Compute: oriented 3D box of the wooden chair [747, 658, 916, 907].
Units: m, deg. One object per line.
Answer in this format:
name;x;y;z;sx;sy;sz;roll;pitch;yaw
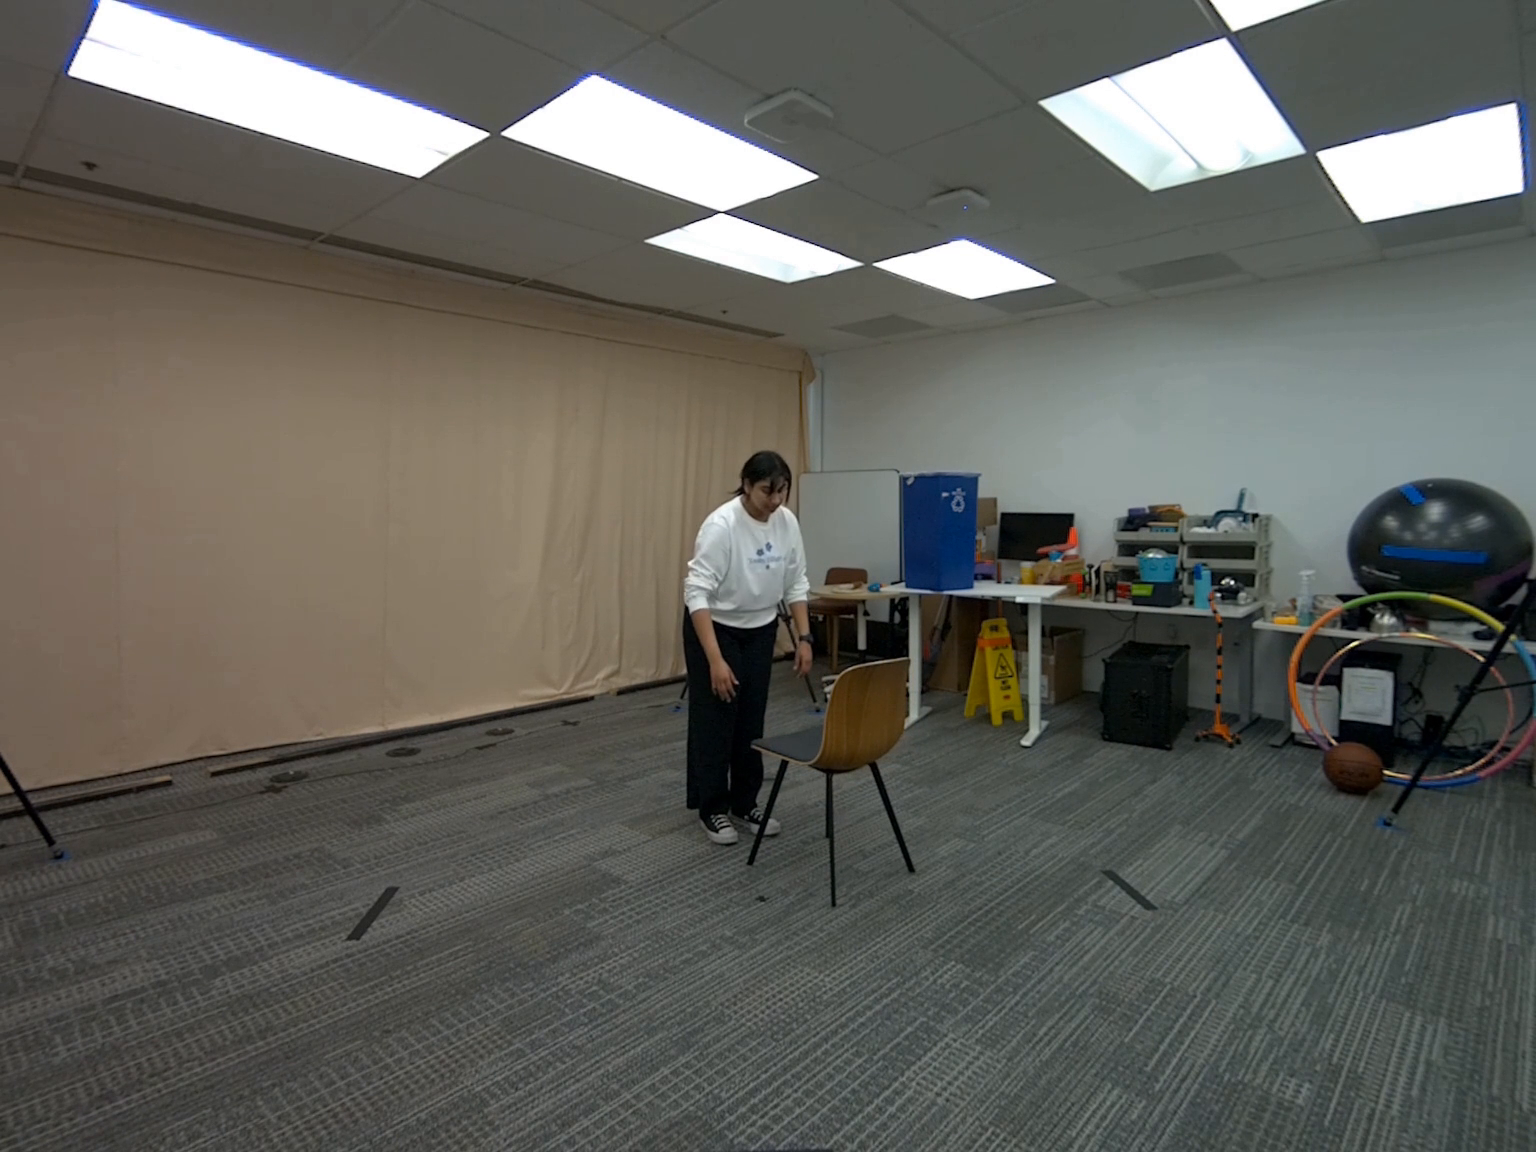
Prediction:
wooden chair;0.240;0.695;3.200;0.463;0.874;0.541;-3;9;-42
